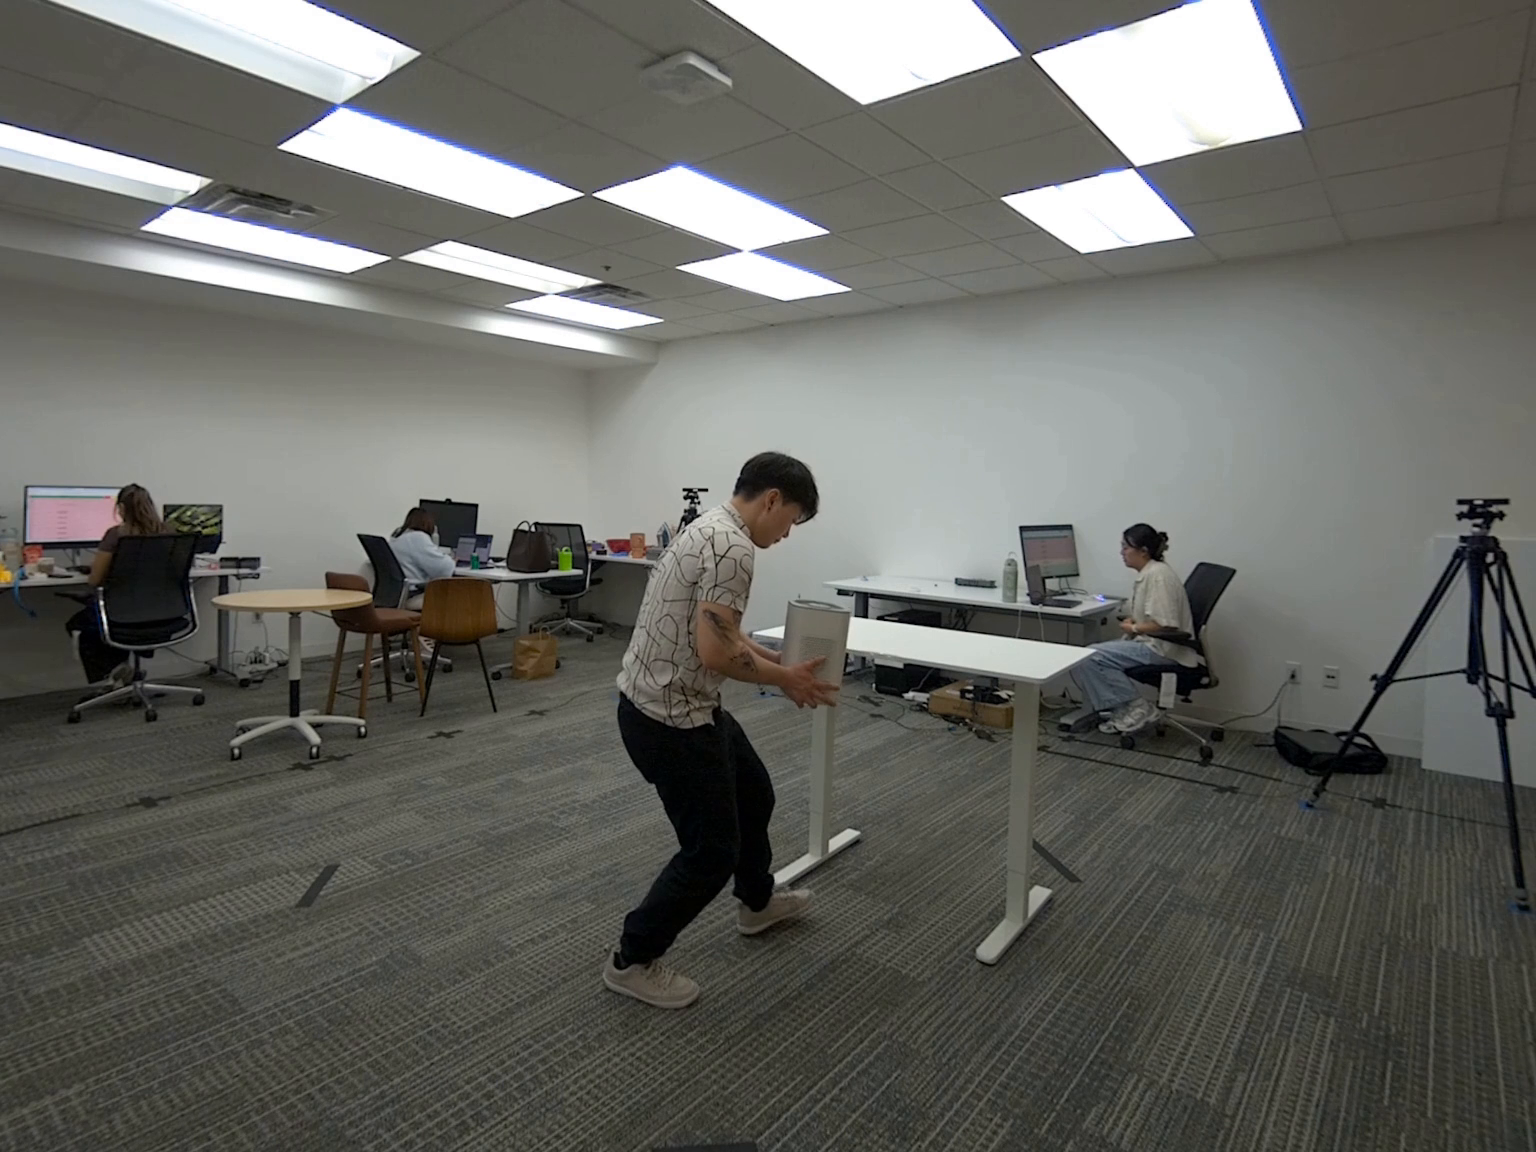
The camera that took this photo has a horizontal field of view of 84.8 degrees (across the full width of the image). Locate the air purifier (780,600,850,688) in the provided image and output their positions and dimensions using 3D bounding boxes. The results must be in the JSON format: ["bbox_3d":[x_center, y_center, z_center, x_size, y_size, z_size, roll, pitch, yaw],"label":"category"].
[{"bbox_3d":[0.124,0.210,2.362,0.171,0.265,0.172,6,2,-3],"label":"air purifier"}]
